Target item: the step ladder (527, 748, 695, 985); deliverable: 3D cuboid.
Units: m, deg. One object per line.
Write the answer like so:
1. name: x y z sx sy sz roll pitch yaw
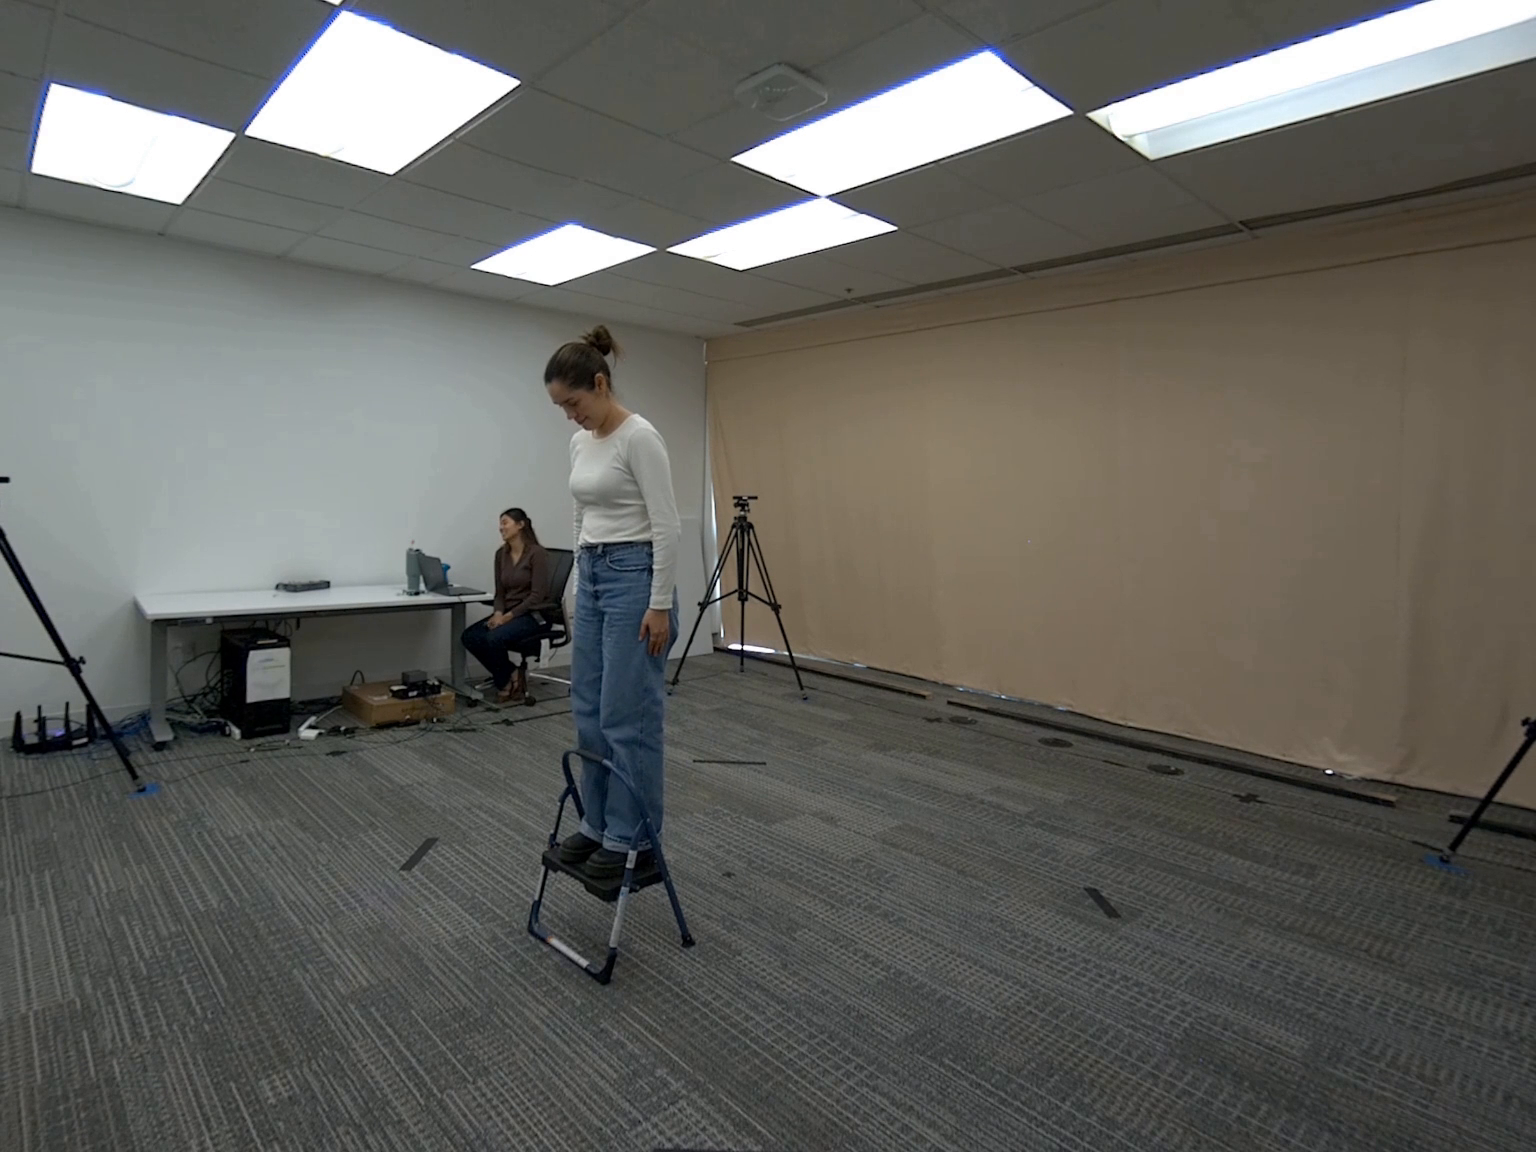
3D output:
1. step ladder: -0.500 0.839 2.626 0.441 0.604 0.341 4 5 43
